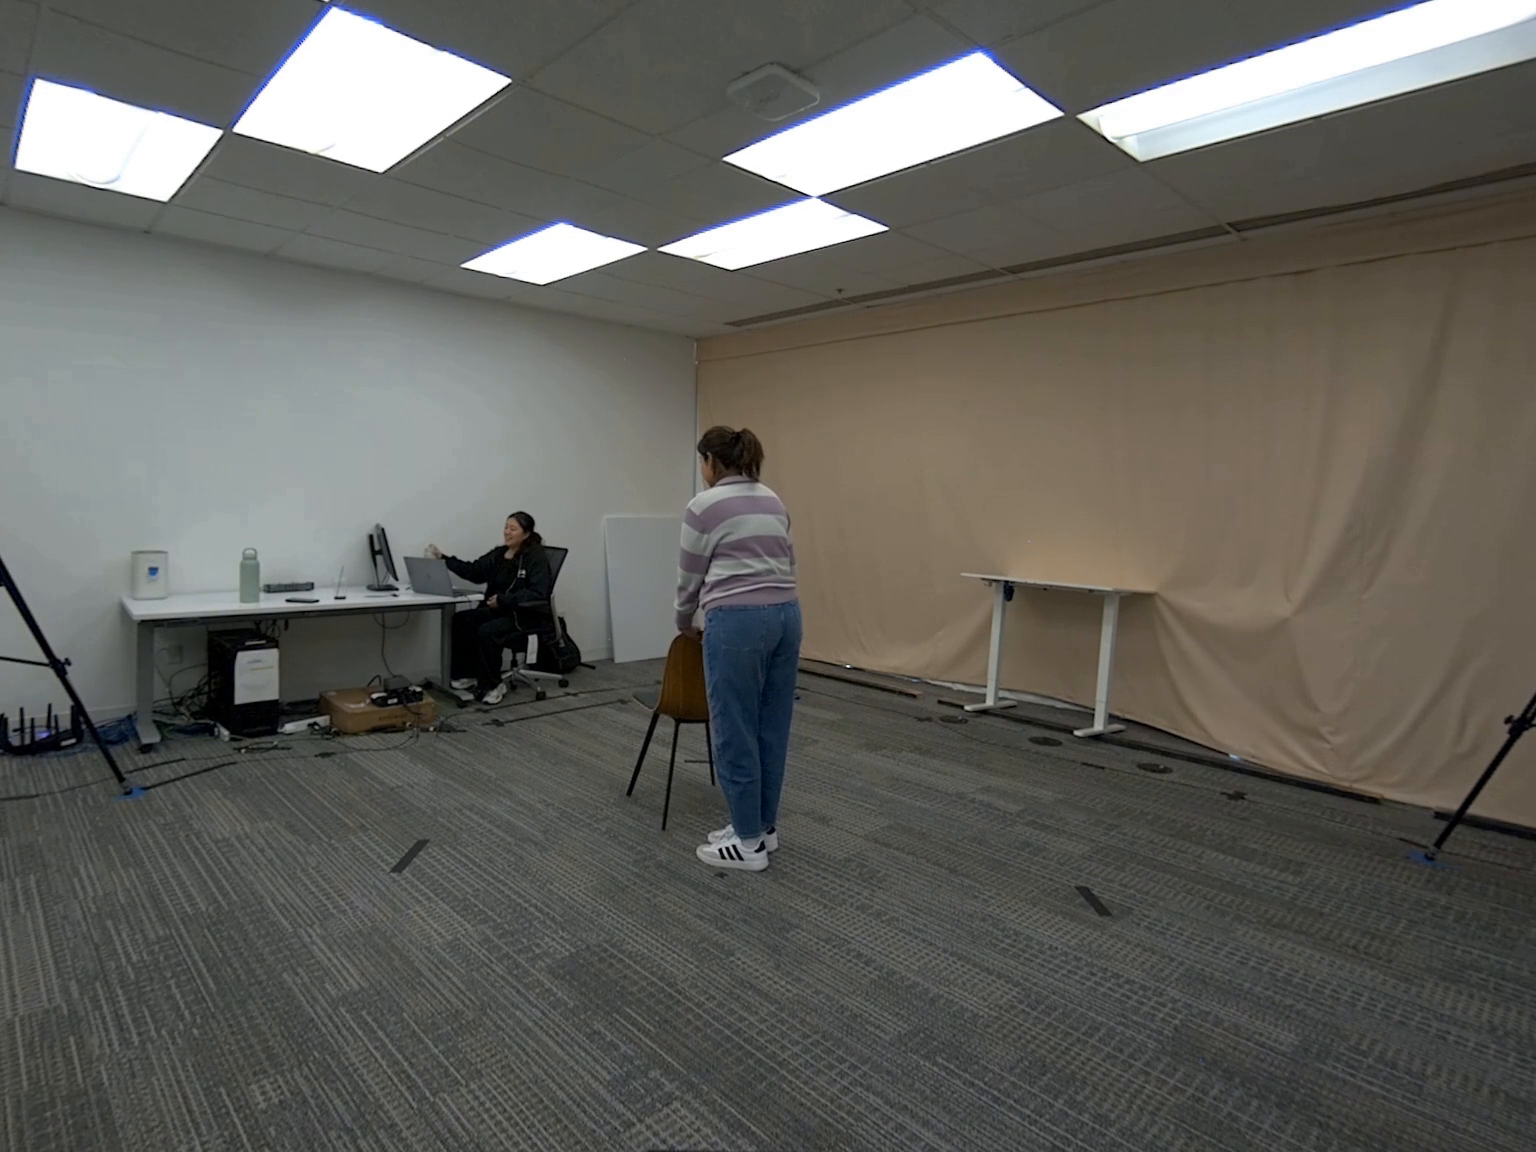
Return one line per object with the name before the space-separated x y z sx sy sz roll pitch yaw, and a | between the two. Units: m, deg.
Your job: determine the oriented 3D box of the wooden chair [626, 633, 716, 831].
wooden chair | -0.350 0.610 3.779 0.469 0.873 0.536 0 8 -27
